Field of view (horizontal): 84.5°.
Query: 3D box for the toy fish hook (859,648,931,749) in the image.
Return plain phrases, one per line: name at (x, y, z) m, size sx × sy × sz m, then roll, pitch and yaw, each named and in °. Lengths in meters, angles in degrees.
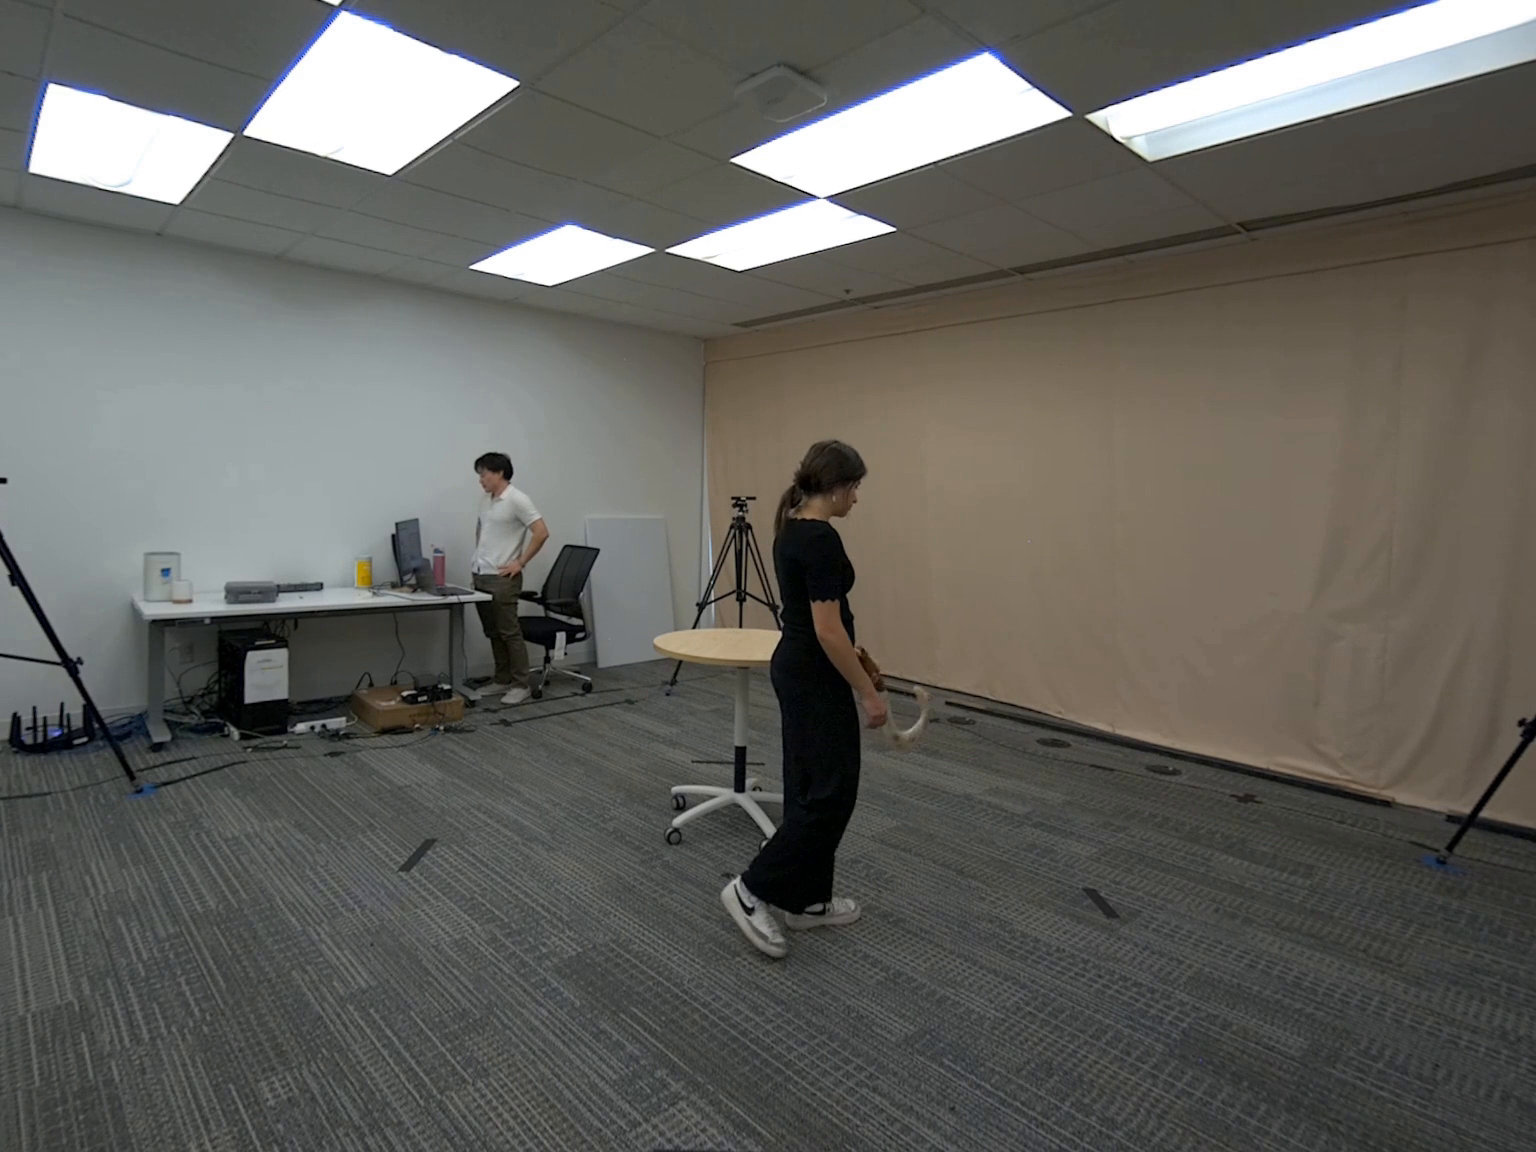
toy fish hook at (0.449, 0.380, 3.023) m, size 0.224 × 0.495 × 0.049 m, roll -42°, pitch 28°, yaw -25°
